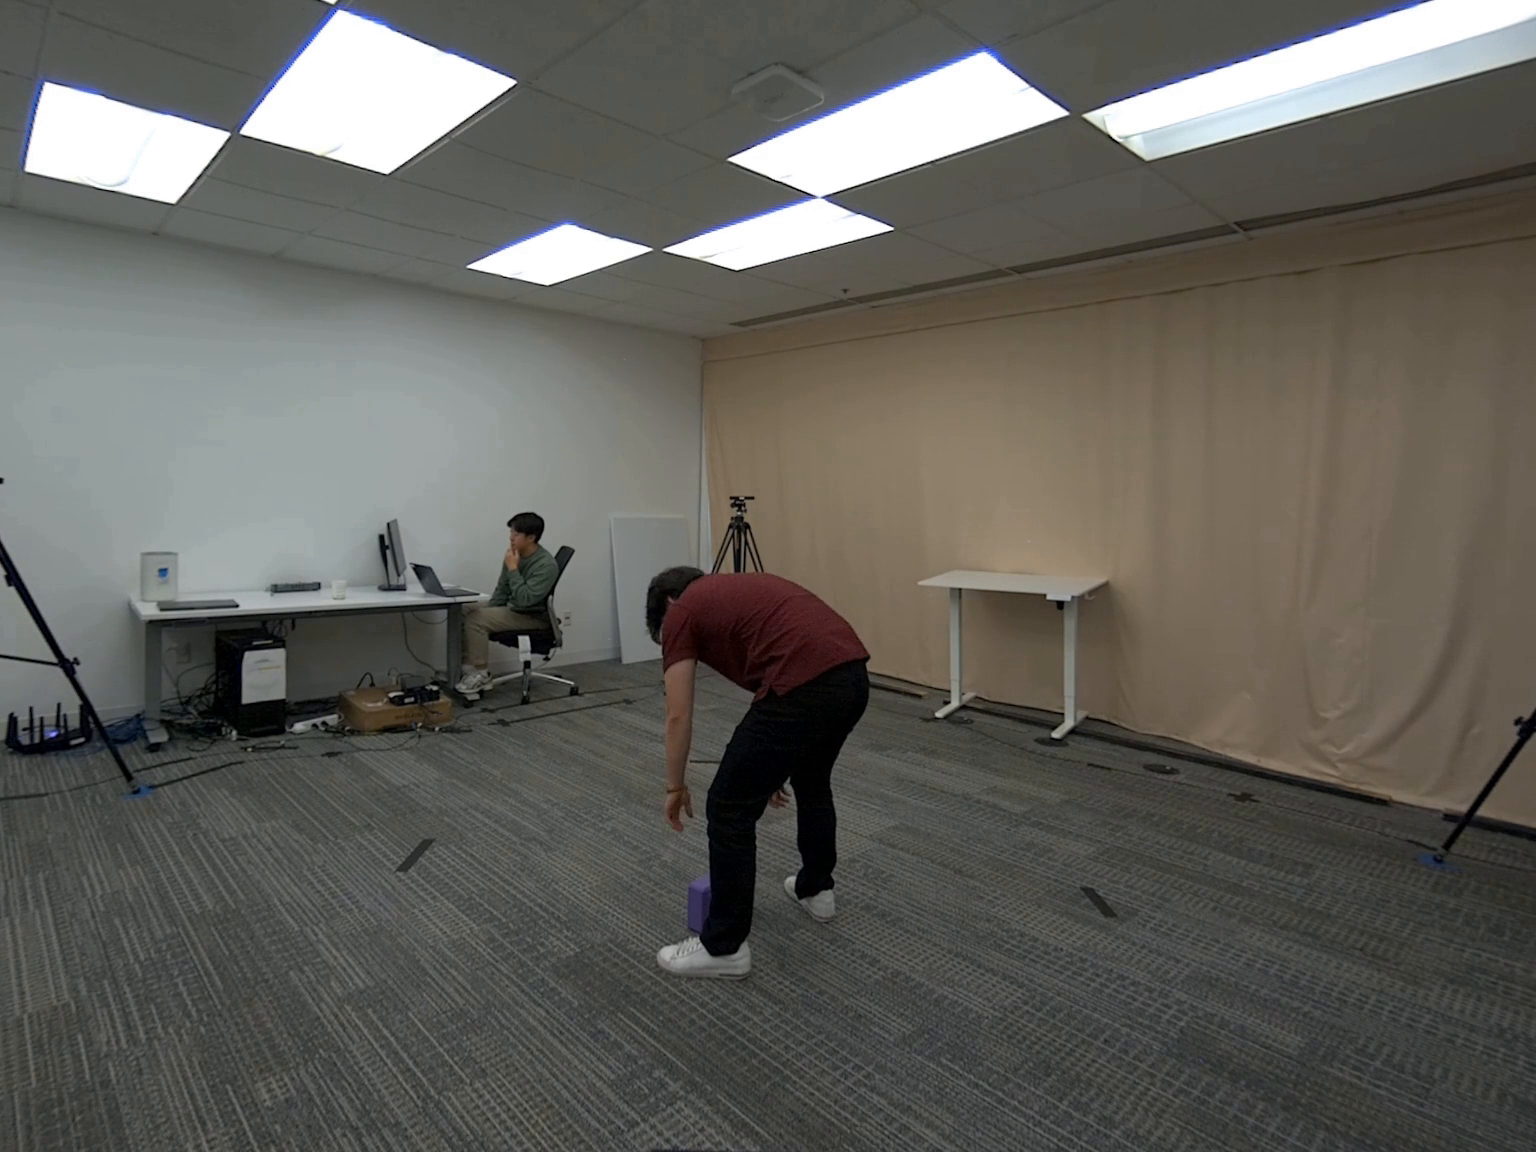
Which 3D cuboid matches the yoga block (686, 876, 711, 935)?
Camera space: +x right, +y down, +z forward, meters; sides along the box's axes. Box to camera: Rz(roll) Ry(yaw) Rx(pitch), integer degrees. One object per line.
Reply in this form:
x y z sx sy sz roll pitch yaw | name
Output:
-0.171 1.061 2.770 0.078 0.148 0.225 3 5 34 | yoga block
